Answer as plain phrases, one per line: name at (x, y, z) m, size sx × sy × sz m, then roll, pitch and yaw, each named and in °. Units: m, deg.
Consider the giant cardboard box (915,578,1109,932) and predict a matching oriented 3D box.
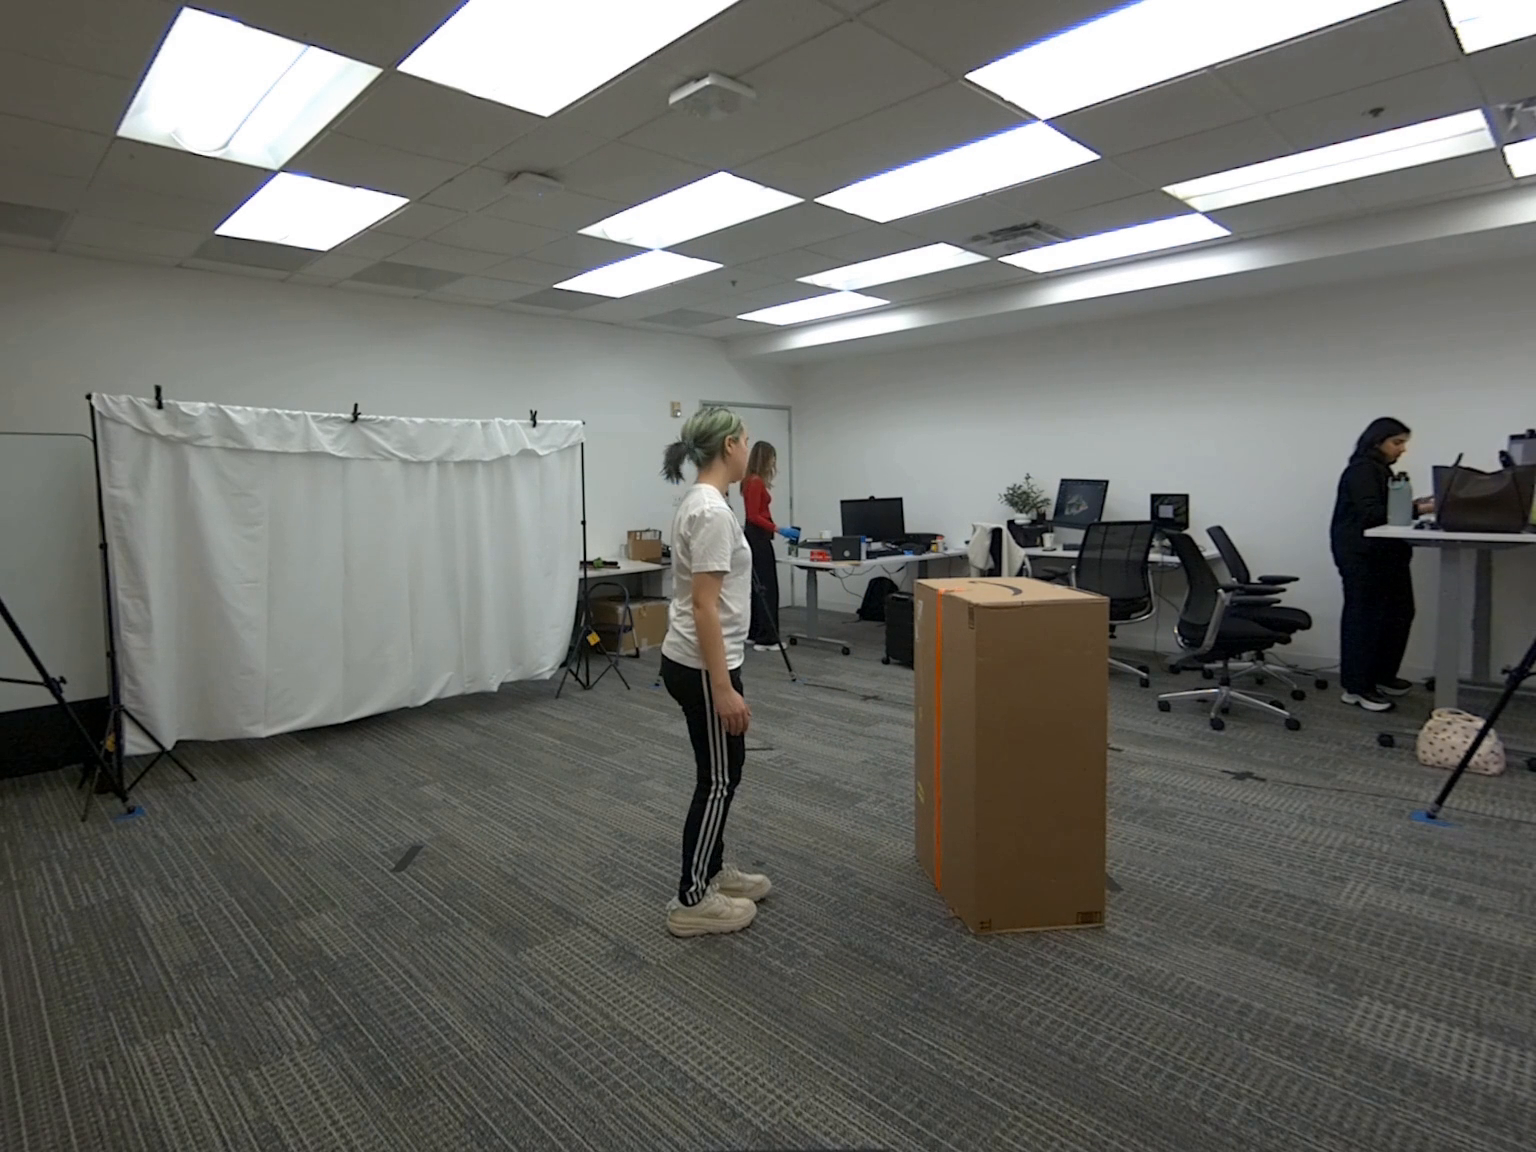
giant cardboard box at (0.786, 0.552, 2.860) m, size 0.444 × 1.023 × 0.590 m, roll -1°, pitch 5°, yaw -8°
